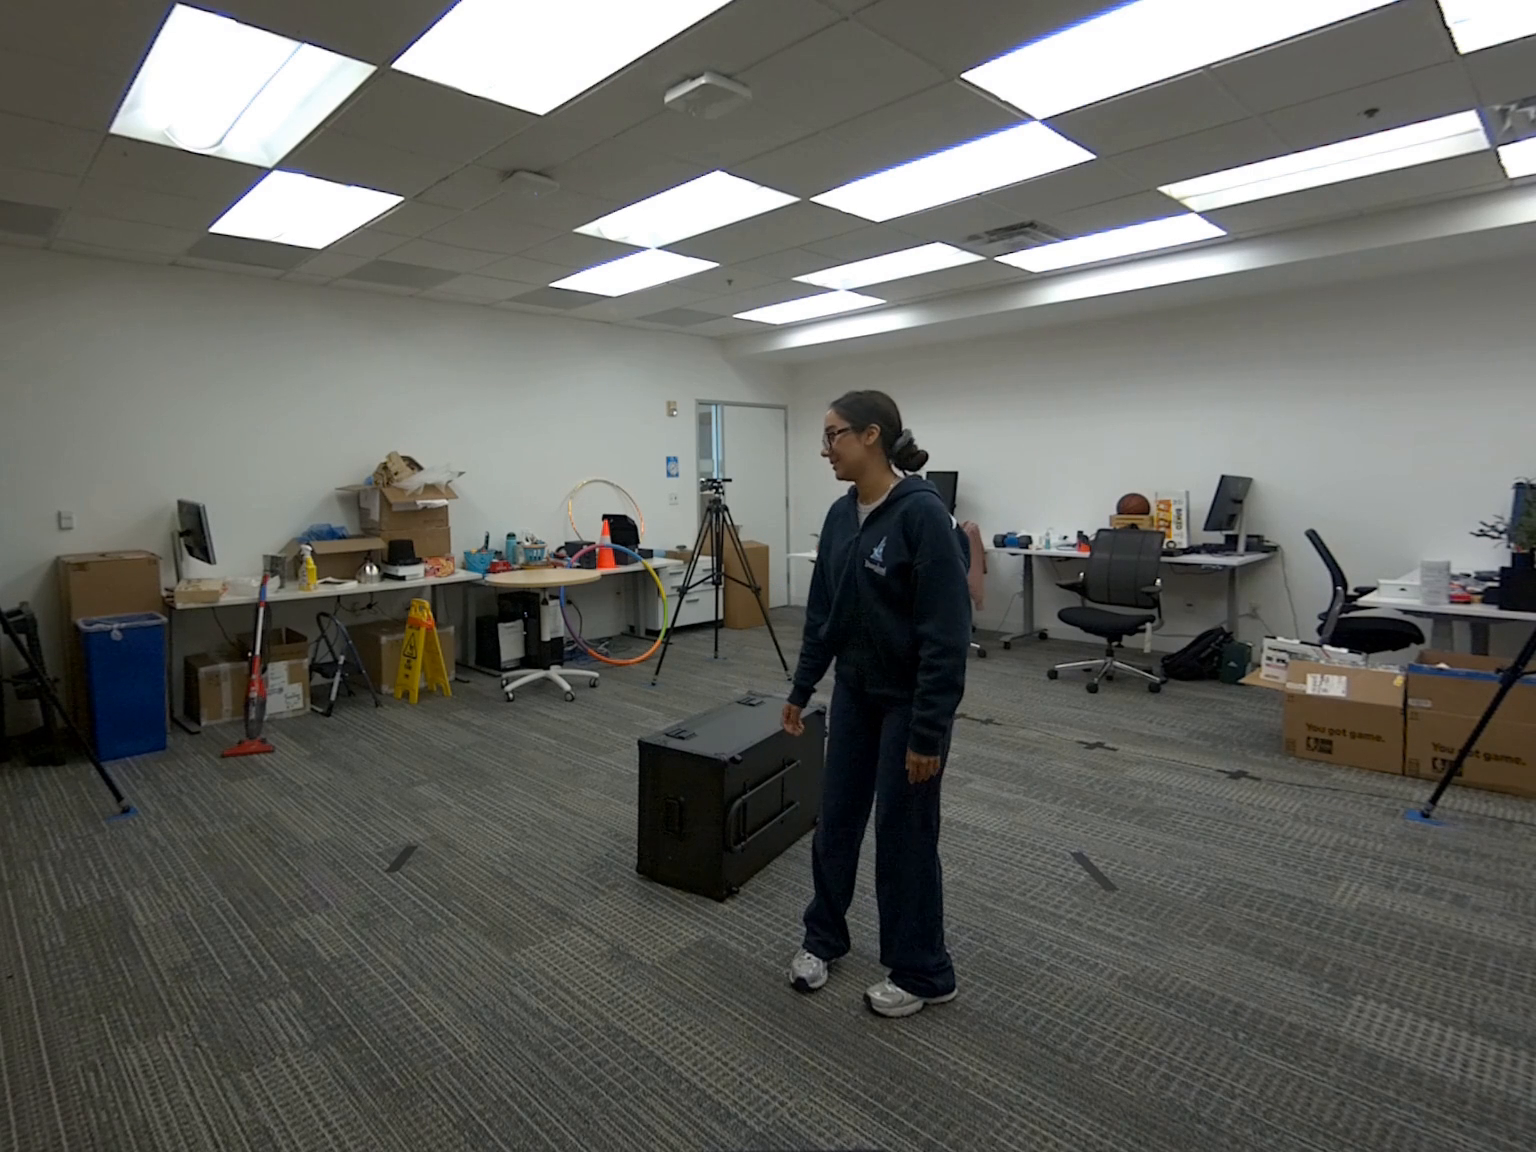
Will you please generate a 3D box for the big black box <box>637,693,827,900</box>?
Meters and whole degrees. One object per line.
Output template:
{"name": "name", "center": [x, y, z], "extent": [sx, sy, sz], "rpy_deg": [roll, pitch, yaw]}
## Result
{"name": "big black box", "center": [-0.084, 0.774, 3.236], "extent": [0.407, 0.518, 0.843], "rpy_deg": [5, 8, 29]}
